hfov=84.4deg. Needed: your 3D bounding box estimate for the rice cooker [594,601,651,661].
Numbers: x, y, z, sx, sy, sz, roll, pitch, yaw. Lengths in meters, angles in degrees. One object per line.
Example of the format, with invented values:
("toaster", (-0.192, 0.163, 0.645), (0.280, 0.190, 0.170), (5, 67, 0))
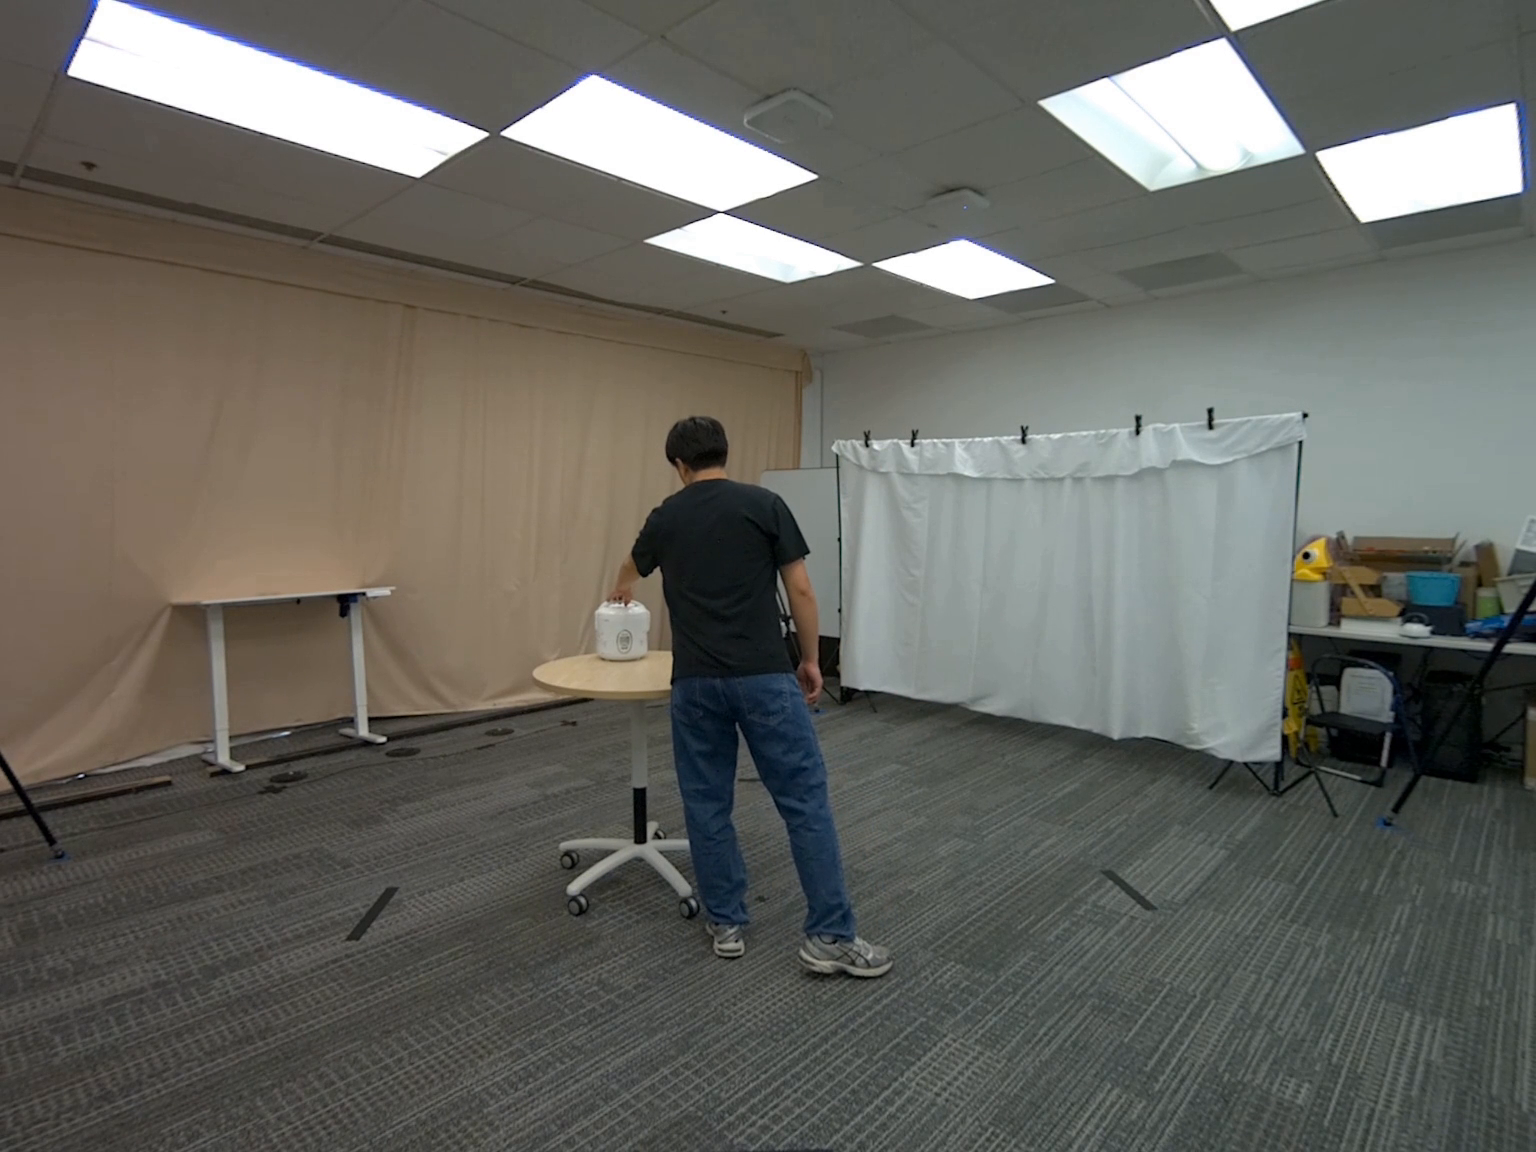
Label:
("rice cooker", (-0.580, 0.207, 3.340), (0.218, 0.232, 0.221), (-1, 3, -14))
